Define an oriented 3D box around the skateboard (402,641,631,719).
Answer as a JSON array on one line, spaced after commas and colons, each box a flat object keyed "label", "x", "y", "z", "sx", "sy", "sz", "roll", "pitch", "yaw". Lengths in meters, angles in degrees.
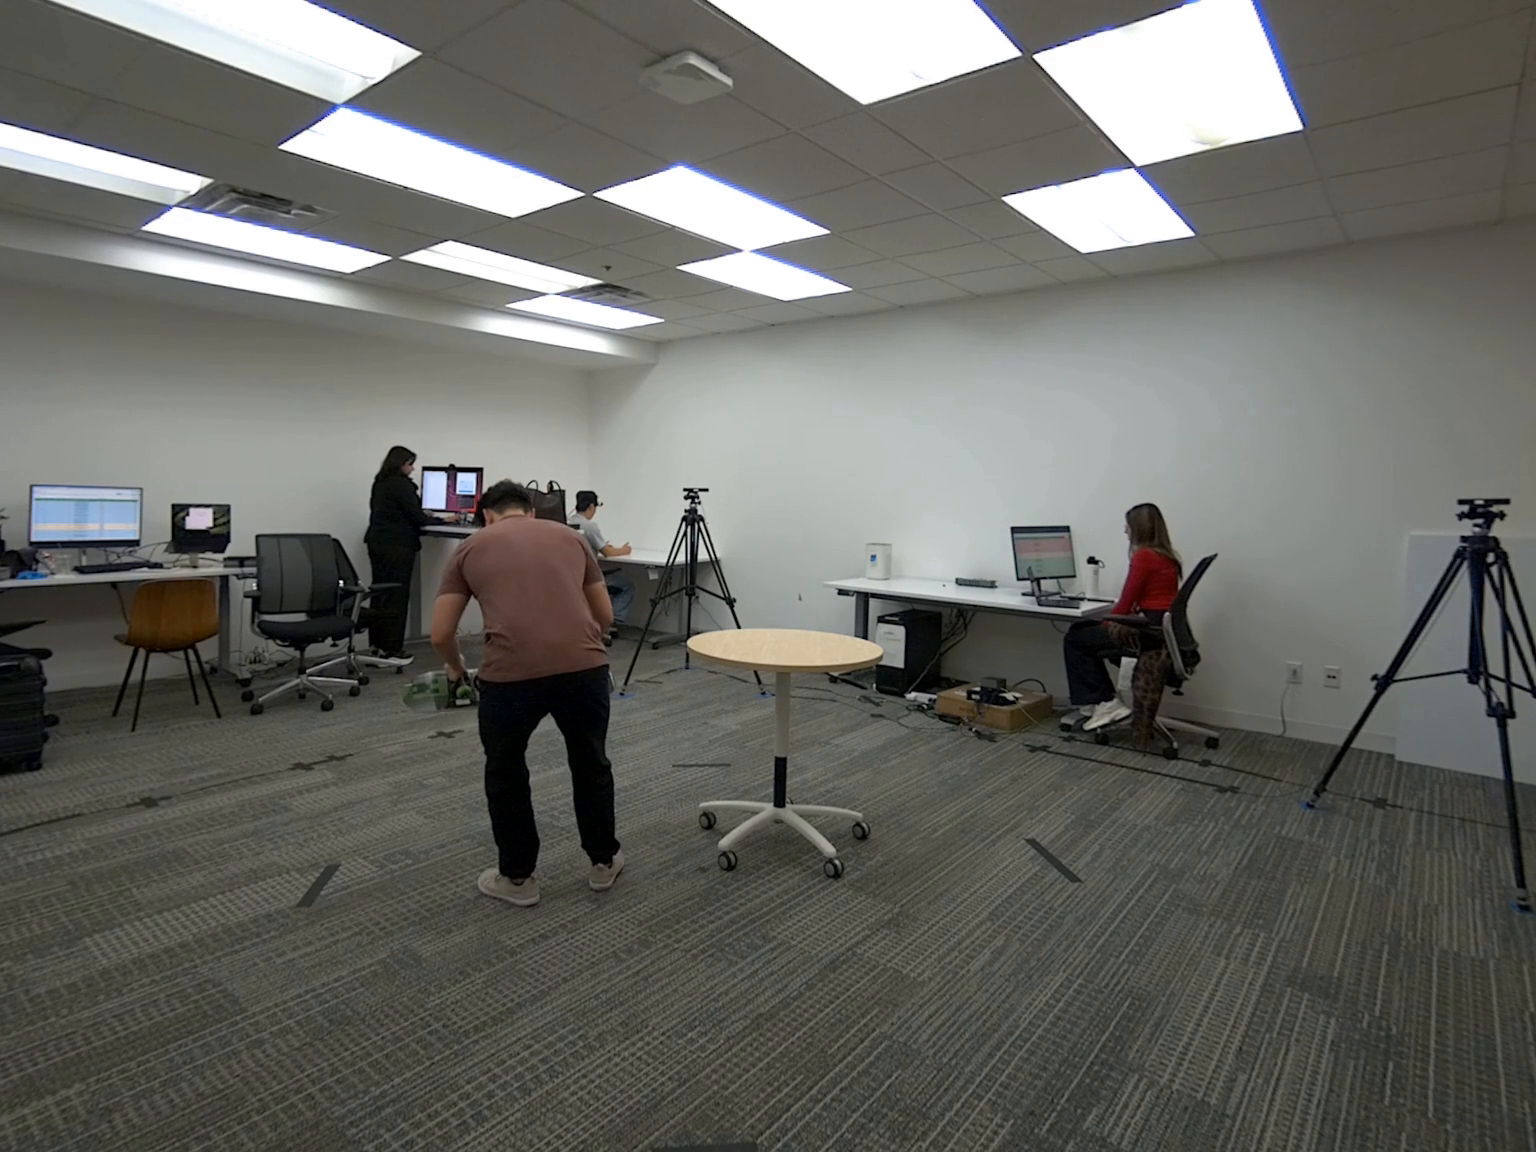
[{"label": "skateboard", "x": -0.918, "y": 0.370, "z": 3.097, "sx": 0.766, "sy": 0.108, "sz": 0.201, "roll": -2, "pitch": 36, "yaw": -27}]
